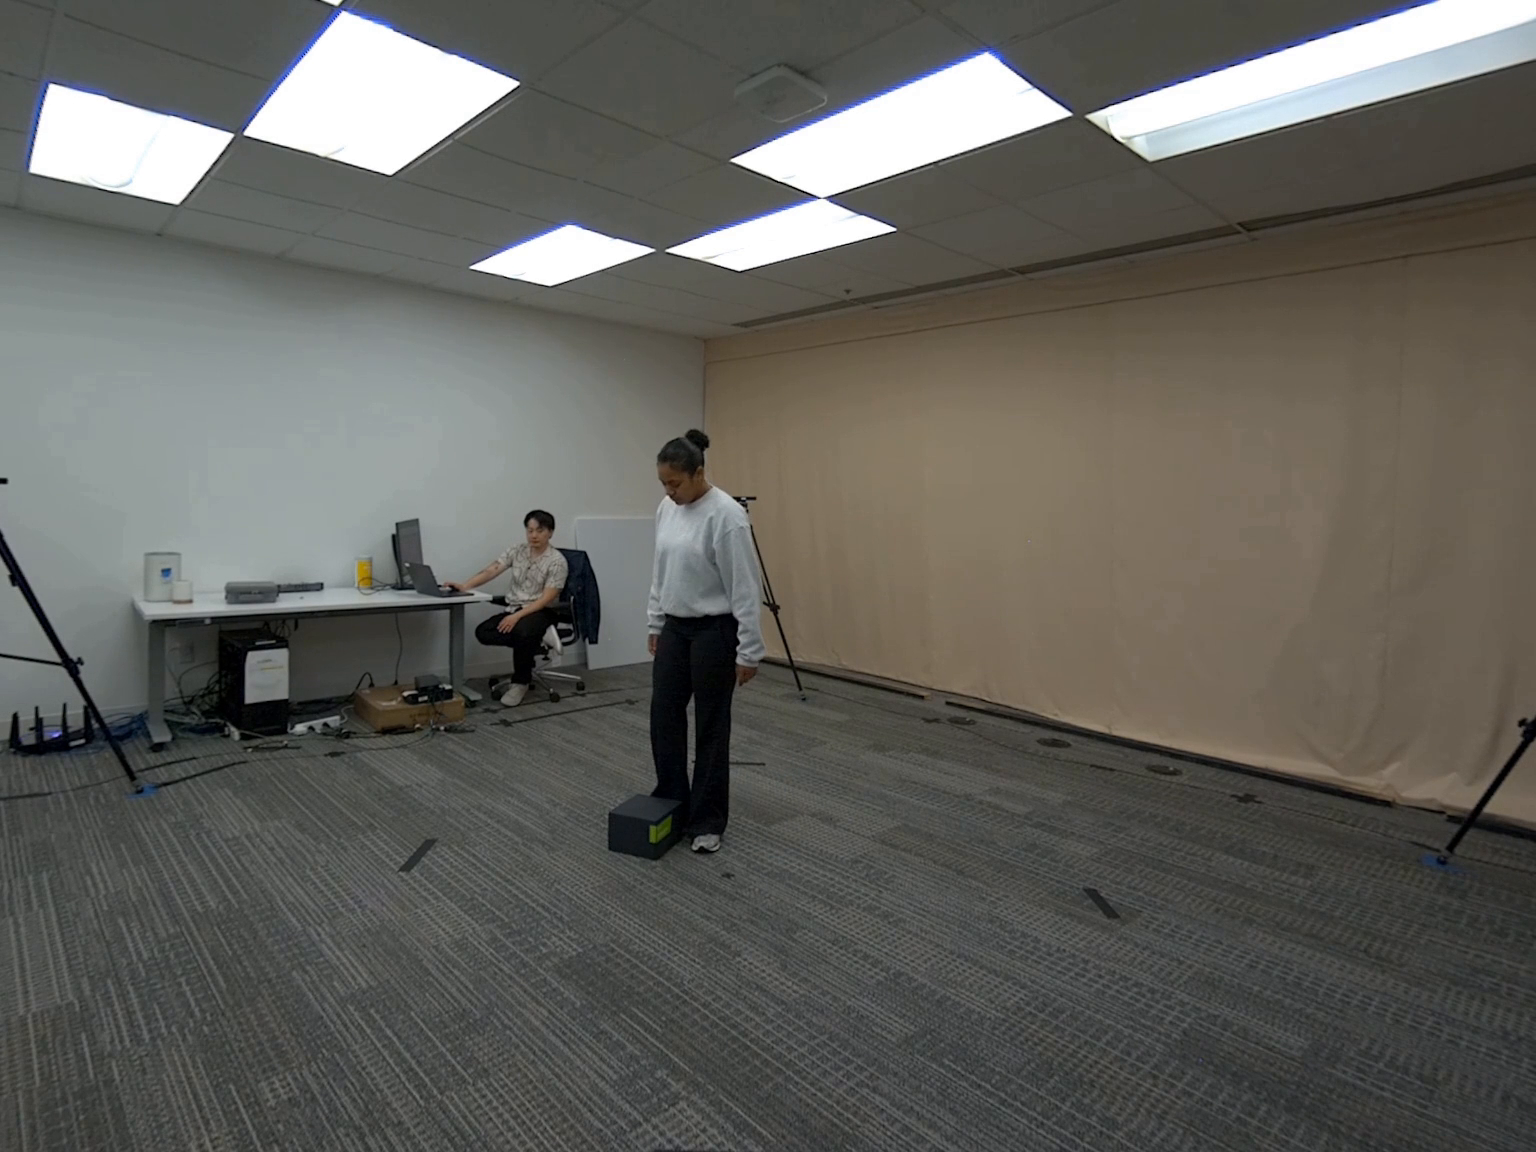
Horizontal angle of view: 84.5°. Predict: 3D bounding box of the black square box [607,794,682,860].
[{"bbox_3d":[-0.498,0.994,3.339,0.220,0.155,0.225,3,4,20],"label":"black square box"}]
